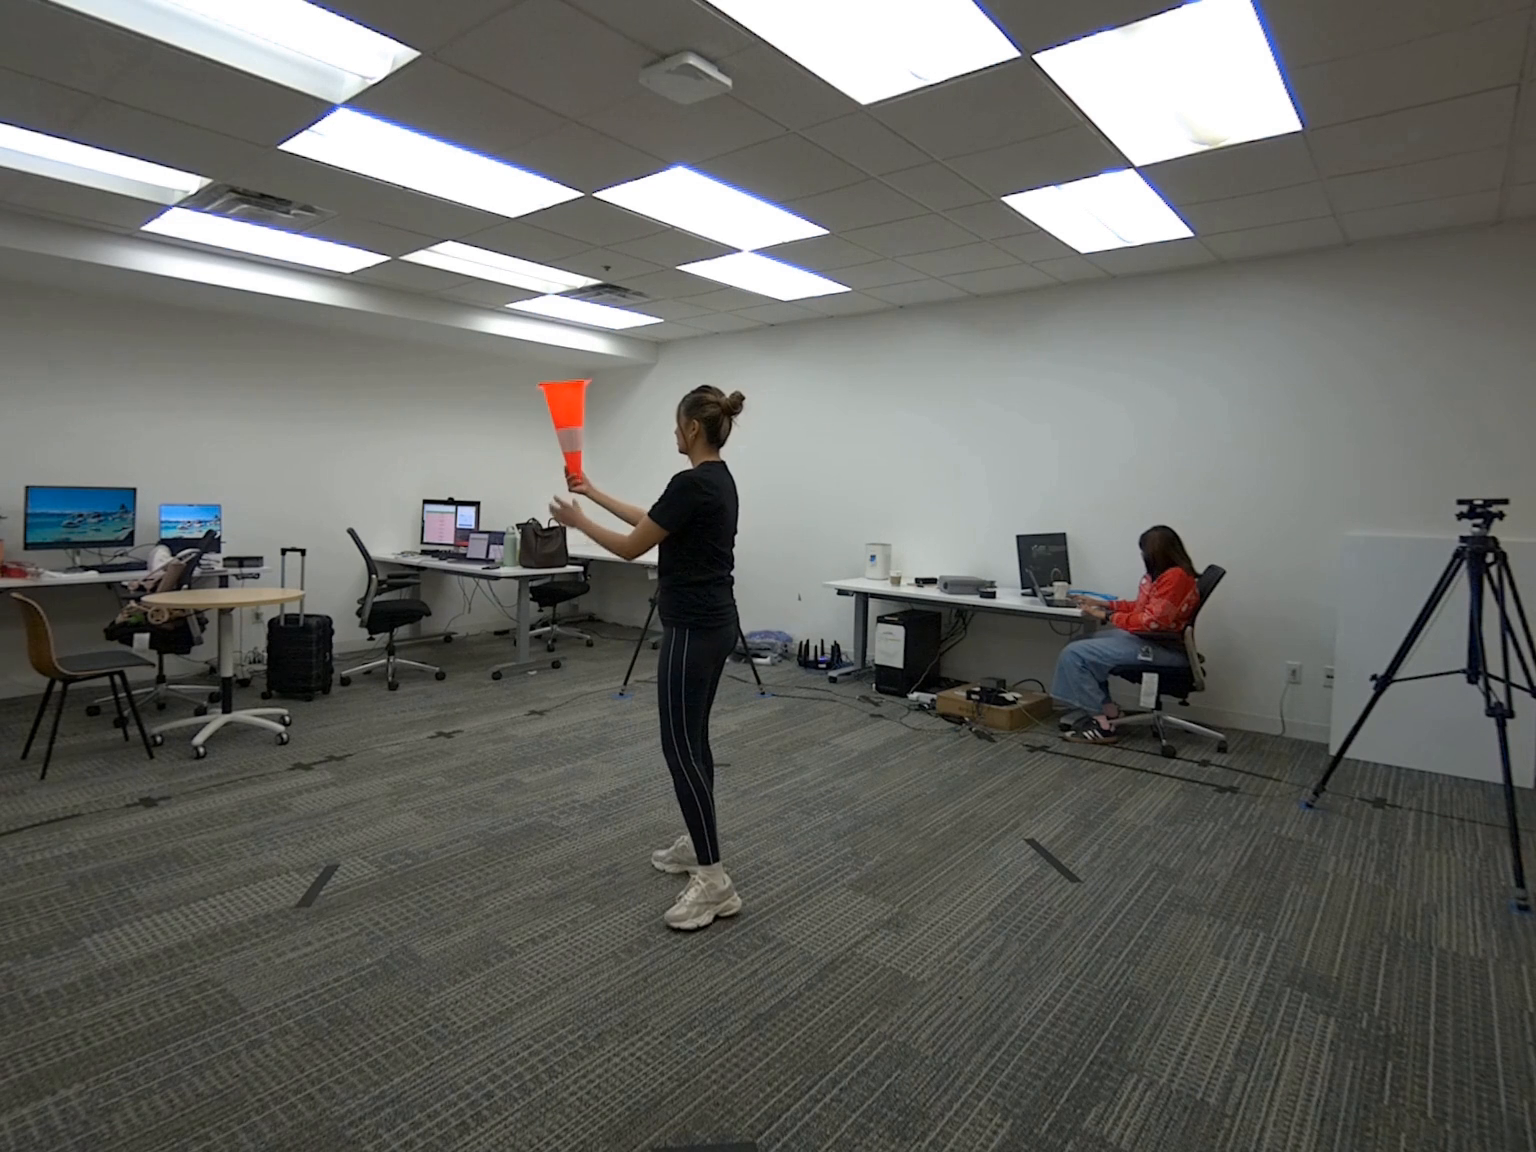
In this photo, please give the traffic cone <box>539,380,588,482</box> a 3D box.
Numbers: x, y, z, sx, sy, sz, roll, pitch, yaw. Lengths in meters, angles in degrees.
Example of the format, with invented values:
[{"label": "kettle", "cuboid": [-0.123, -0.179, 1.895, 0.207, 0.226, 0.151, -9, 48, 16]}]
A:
[{"label": "traffic cone", "cuboid": [-0.770, -0.538, 3.218, 0.202, 0.383, 0.207, -5, 3, -16]}]
